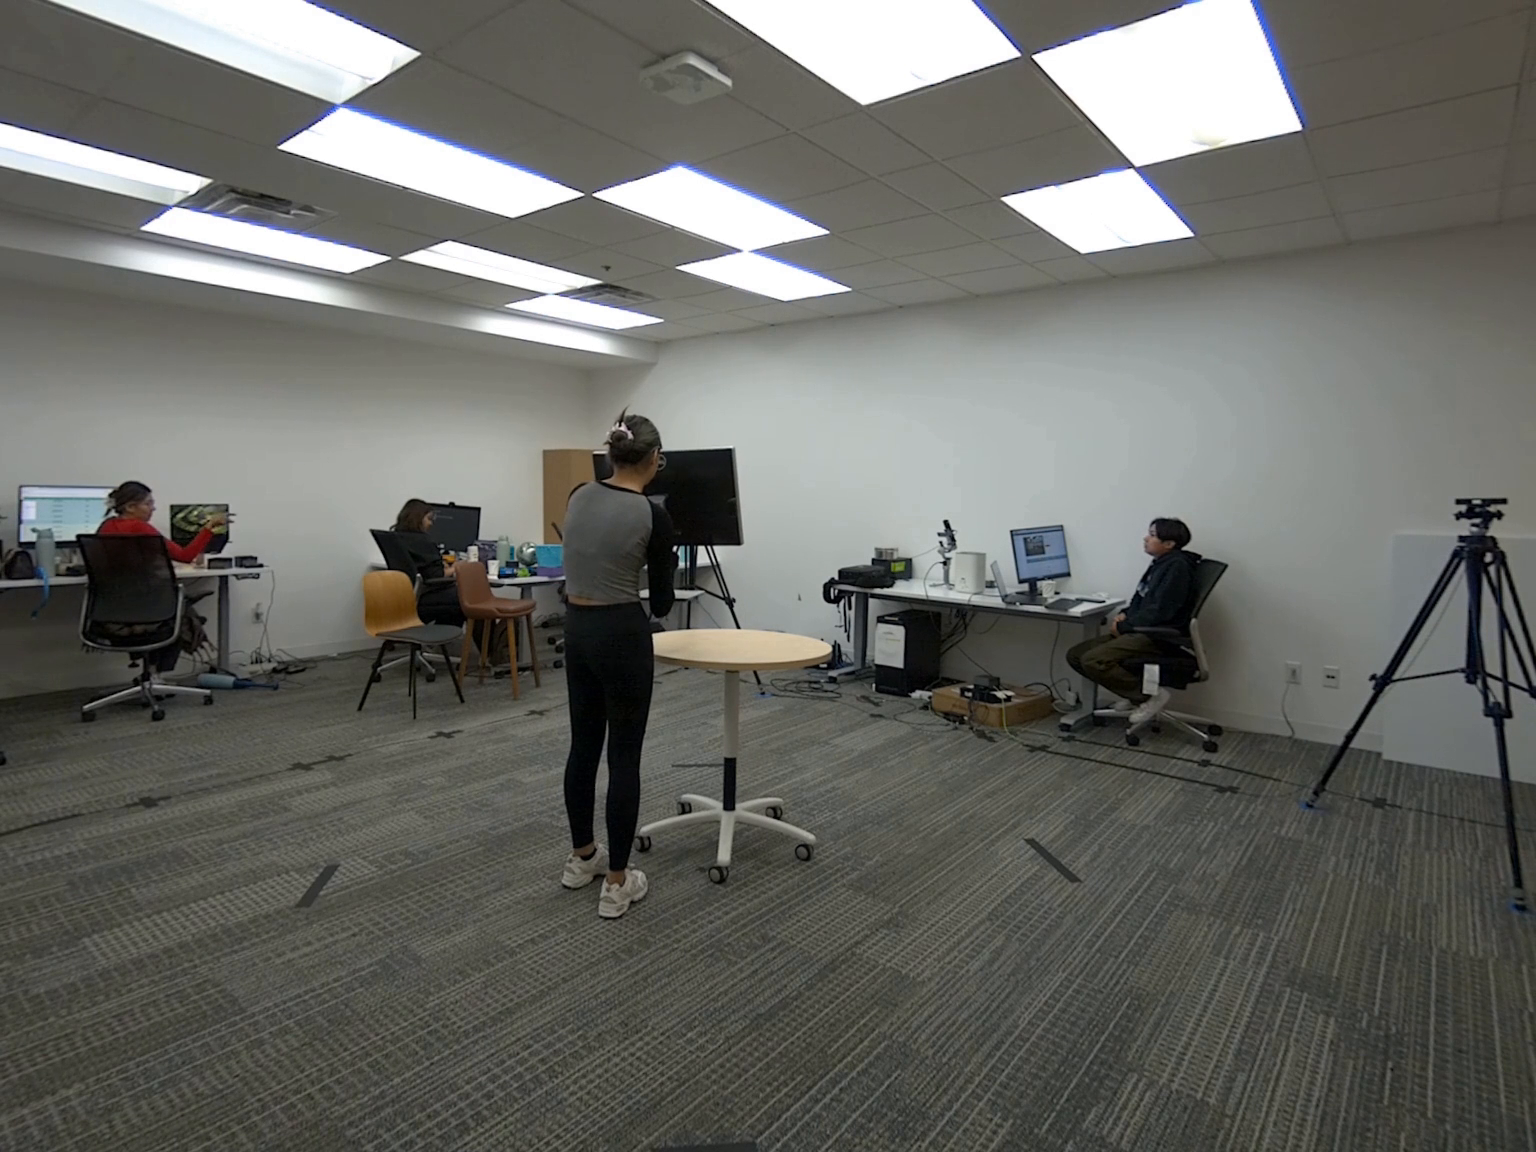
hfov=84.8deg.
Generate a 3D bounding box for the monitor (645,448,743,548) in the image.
[{"bbox_3d":[-0.393,-0.196,3.103,0.549,0.520,0.184,0,4,18],"label":"monitor"}]
